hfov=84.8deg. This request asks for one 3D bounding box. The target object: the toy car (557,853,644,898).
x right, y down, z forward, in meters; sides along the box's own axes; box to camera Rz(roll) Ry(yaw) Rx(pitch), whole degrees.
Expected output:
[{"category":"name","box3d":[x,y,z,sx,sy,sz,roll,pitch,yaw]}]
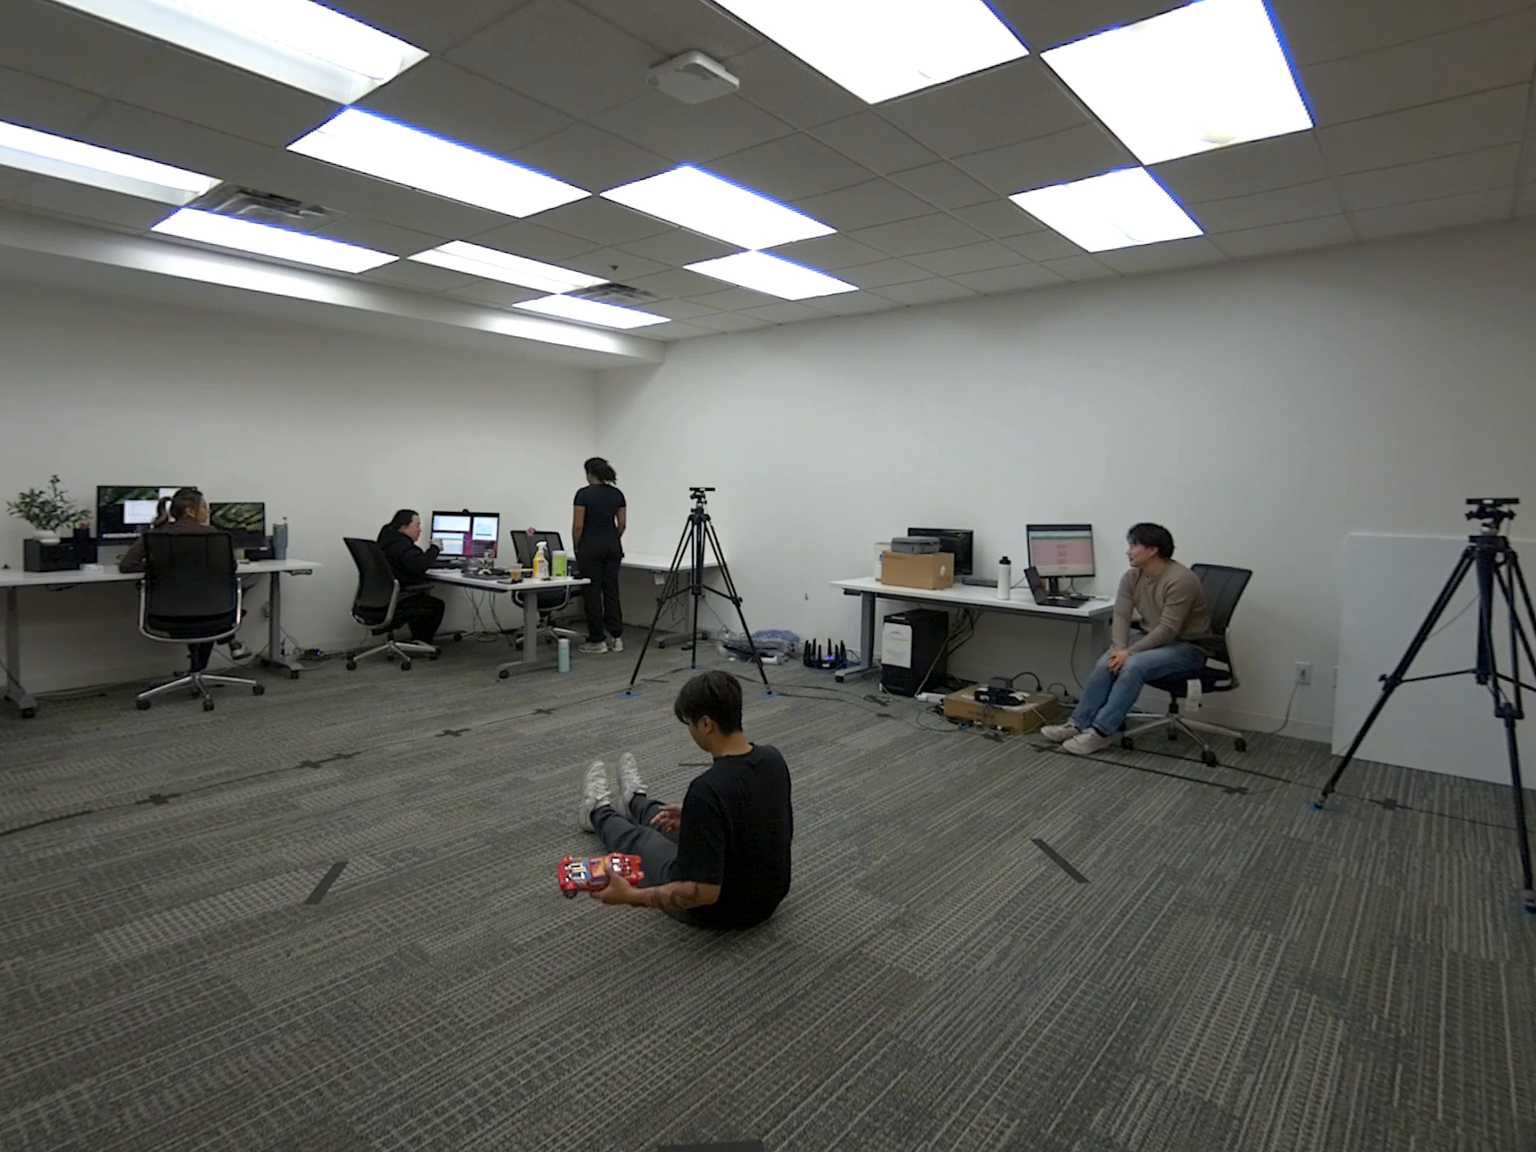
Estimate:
[{"category":"toy car","box3d":[-0.510,0.894,2.570,0.251,0.081,0.135,-6,38,-12]}]
